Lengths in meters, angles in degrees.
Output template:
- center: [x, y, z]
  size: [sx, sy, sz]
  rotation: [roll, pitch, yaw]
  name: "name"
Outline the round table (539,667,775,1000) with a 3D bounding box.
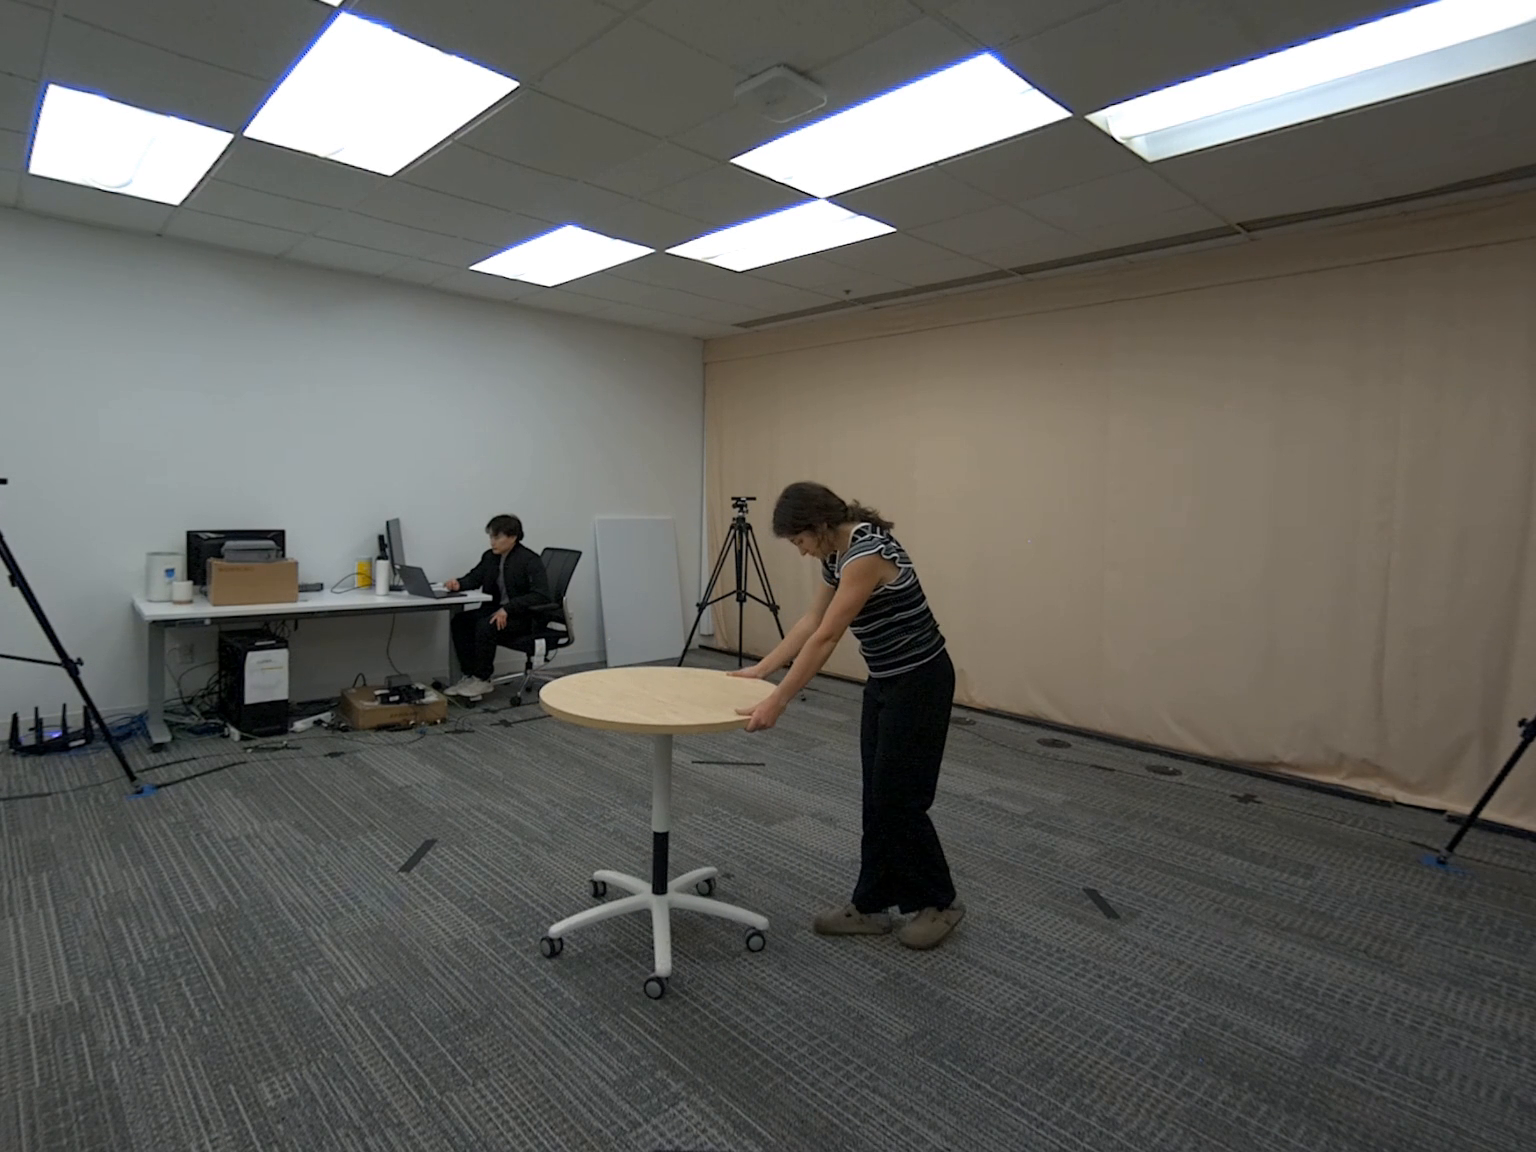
- center: [-0.344, 0.753, 2.657]
  size: [0.763, 0.792, 0.766]
  rotation: [2, 4, -2]
  name: "round table"
